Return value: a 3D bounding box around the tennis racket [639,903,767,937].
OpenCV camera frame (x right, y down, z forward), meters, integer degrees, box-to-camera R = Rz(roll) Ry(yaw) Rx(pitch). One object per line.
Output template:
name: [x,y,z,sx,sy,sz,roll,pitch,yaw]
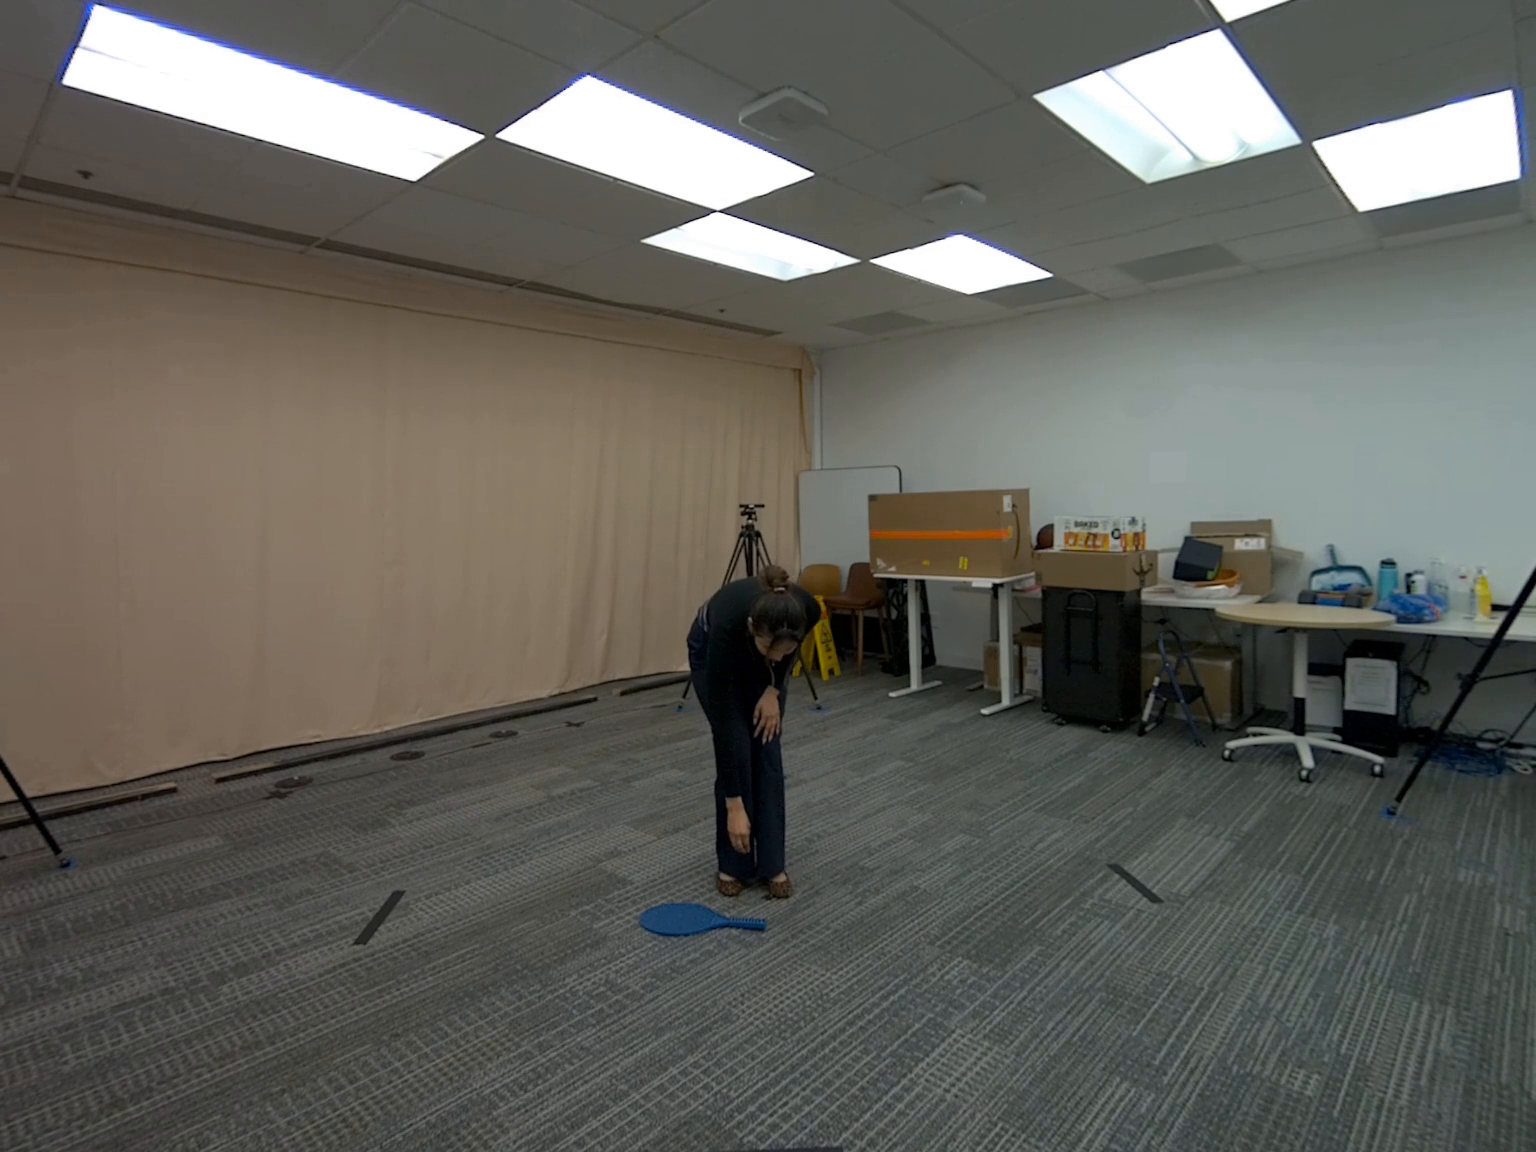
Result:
tennis racket: [-0.217,1.143,2.810,0.438,0.032,0.211,-2,5,12]
